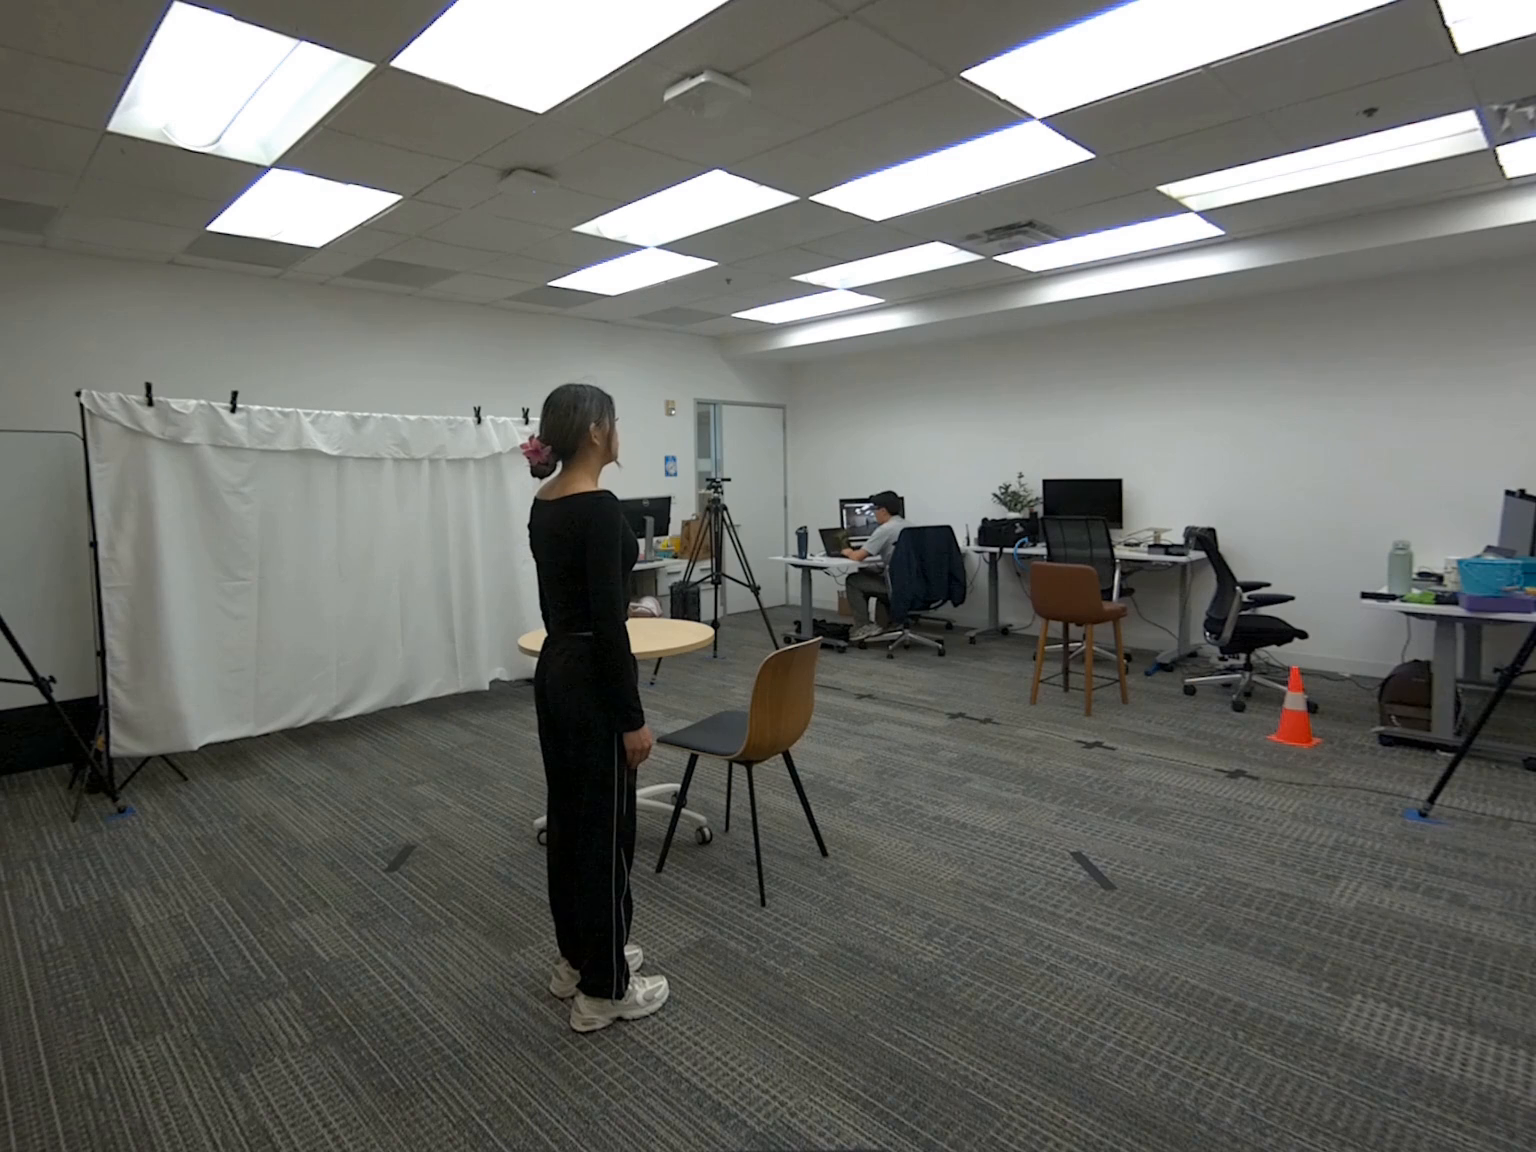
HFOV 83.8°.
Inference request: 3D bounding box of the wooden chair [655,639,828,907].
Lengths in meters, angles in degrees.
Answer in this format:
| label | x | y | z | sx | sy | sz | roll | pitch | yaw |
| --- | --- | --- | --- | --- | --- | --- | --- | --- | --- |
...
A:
| label | x | y | z | sx | sy | sz | roll | pitch | yaw |
| --- | --- | --- | --- | --- | --- | --- | --- | --- | --- |
| wooden chair | -0.099 | 0.619 | 3.063 | 0.539 | 0.872 | 0.467 | 7 | 8 | 33 |
